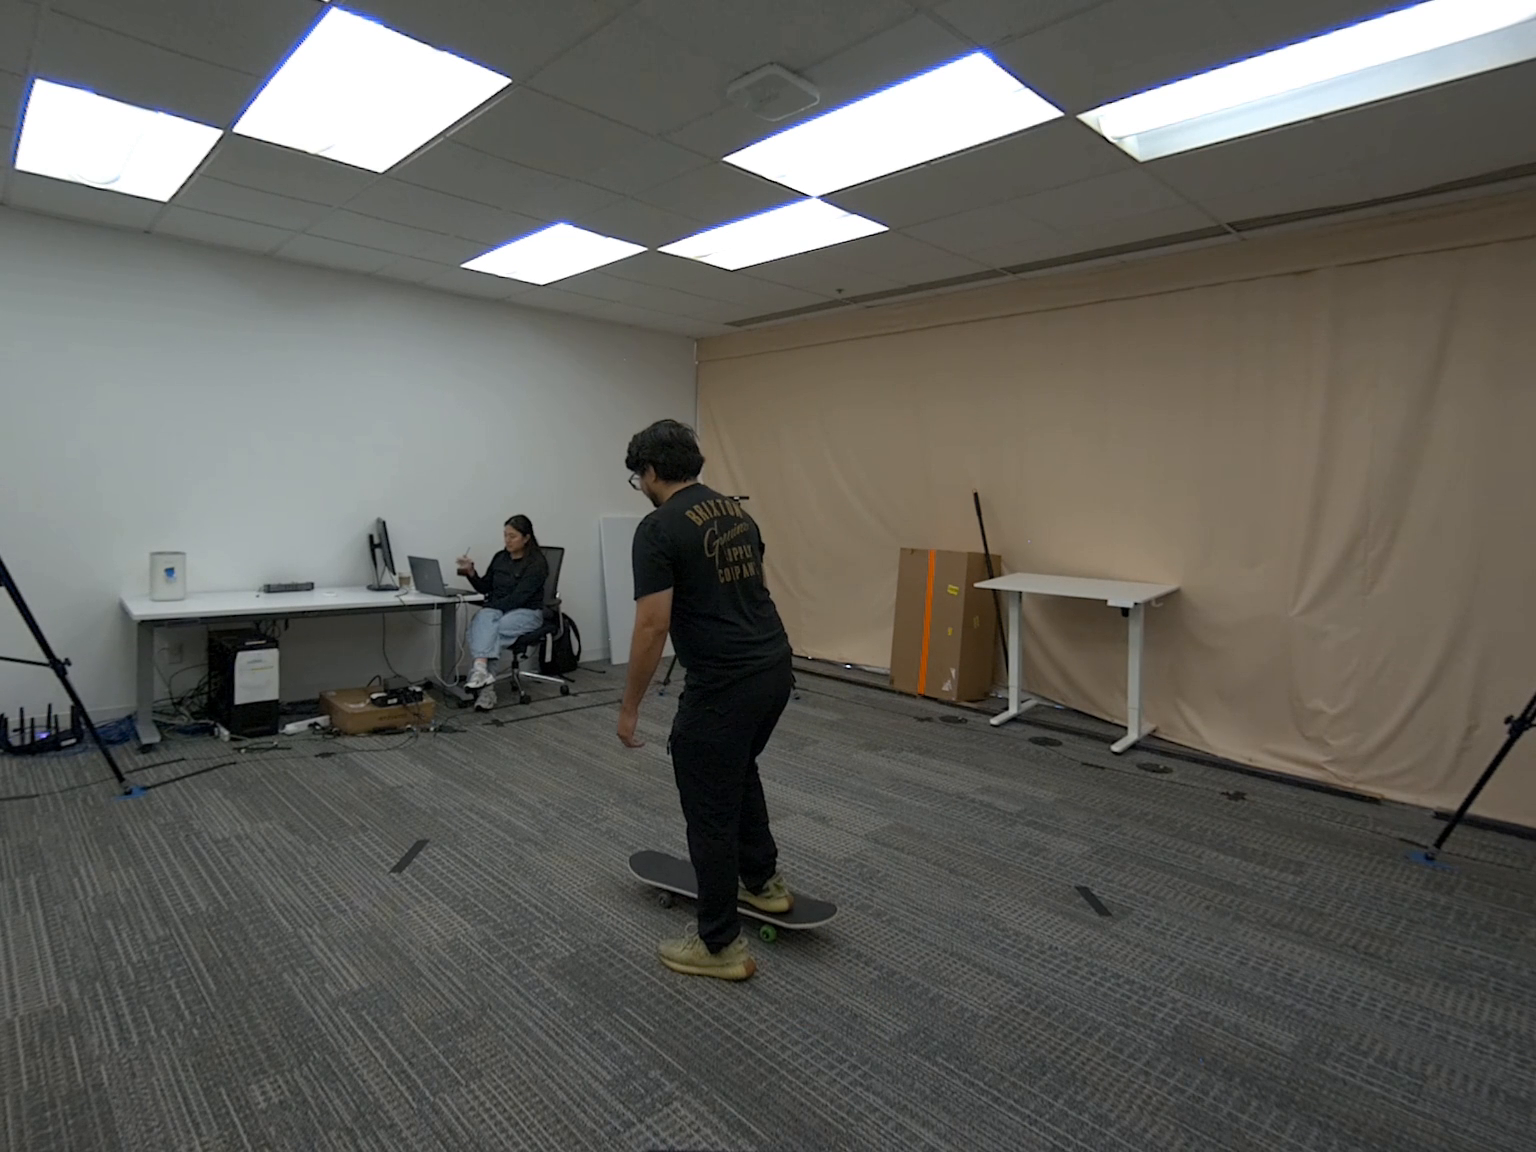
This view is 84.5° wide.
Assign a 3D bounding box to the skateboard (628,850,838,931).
[{"bbox_3d":[-0.146,1.077,2.806,0.803,0.110,0.190,4,7,31],"label":"skateboard"}]
